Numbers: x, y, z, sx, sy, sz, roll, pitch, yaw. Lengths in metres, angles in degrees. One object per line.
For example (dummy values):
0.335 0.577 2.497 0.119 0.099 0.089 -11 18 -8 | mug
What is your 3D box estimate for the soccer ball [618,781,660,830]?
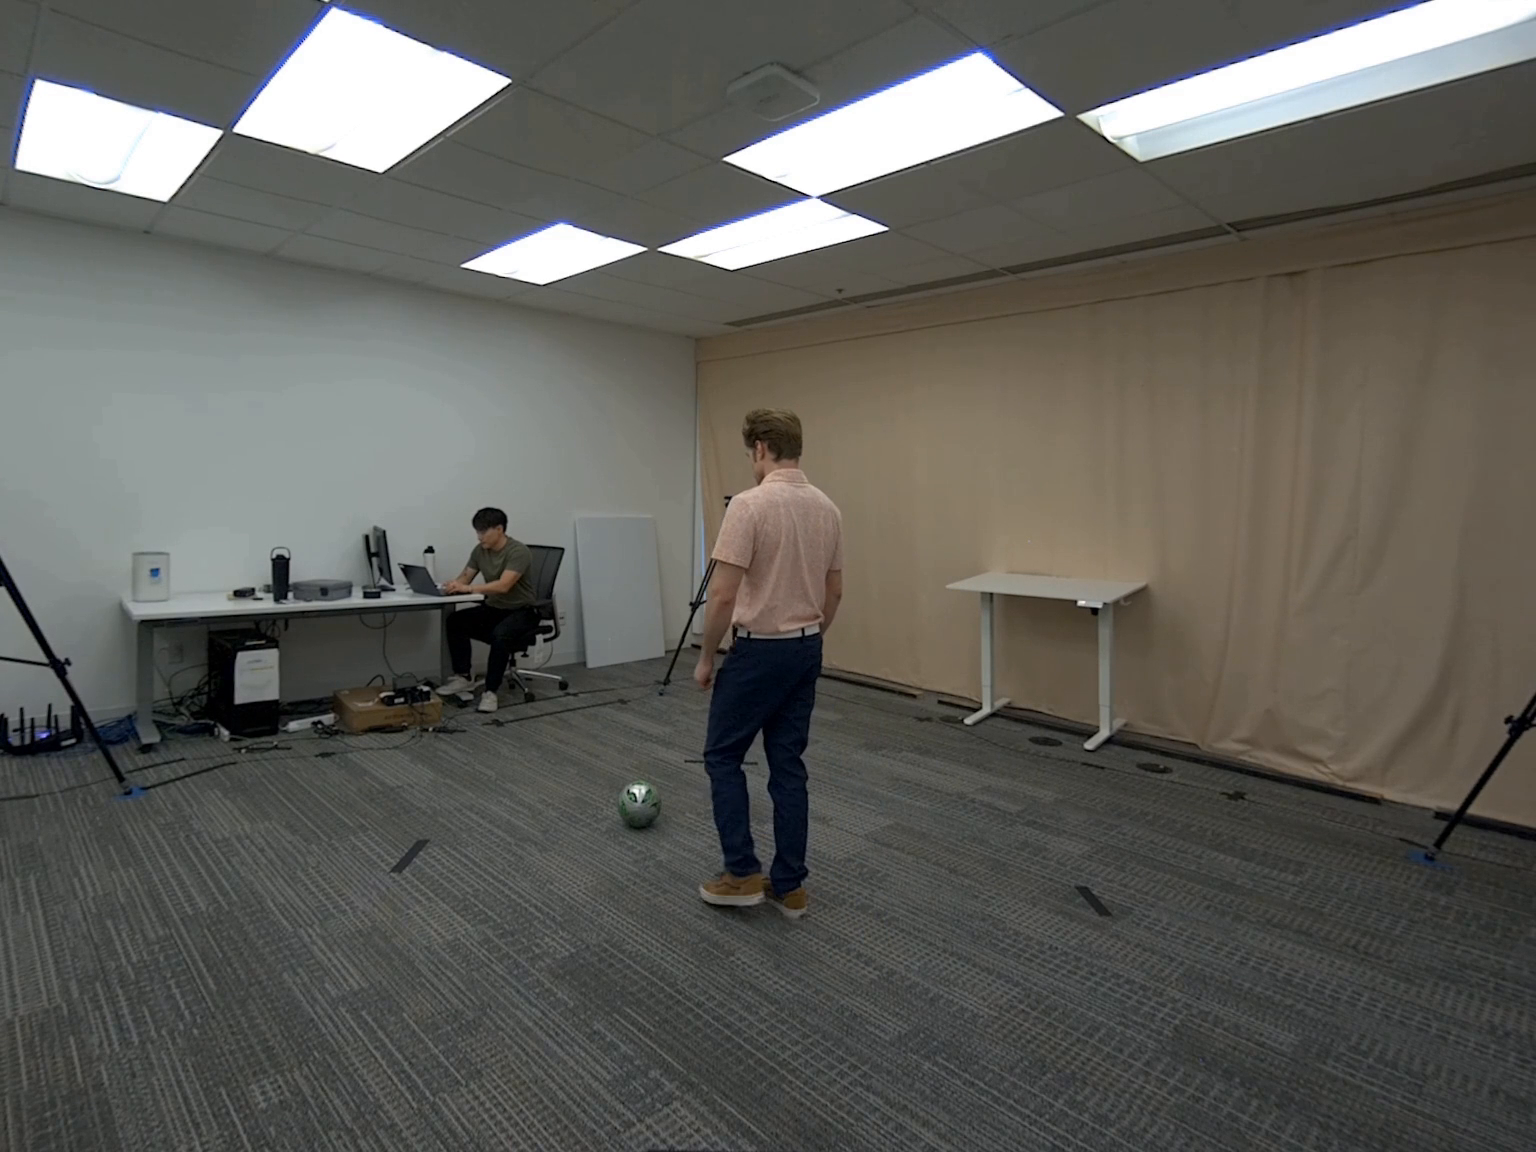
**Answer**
-0.548 0.960 3.544 0.187 0.187 0.188 1 4 -1 | soccer ball
